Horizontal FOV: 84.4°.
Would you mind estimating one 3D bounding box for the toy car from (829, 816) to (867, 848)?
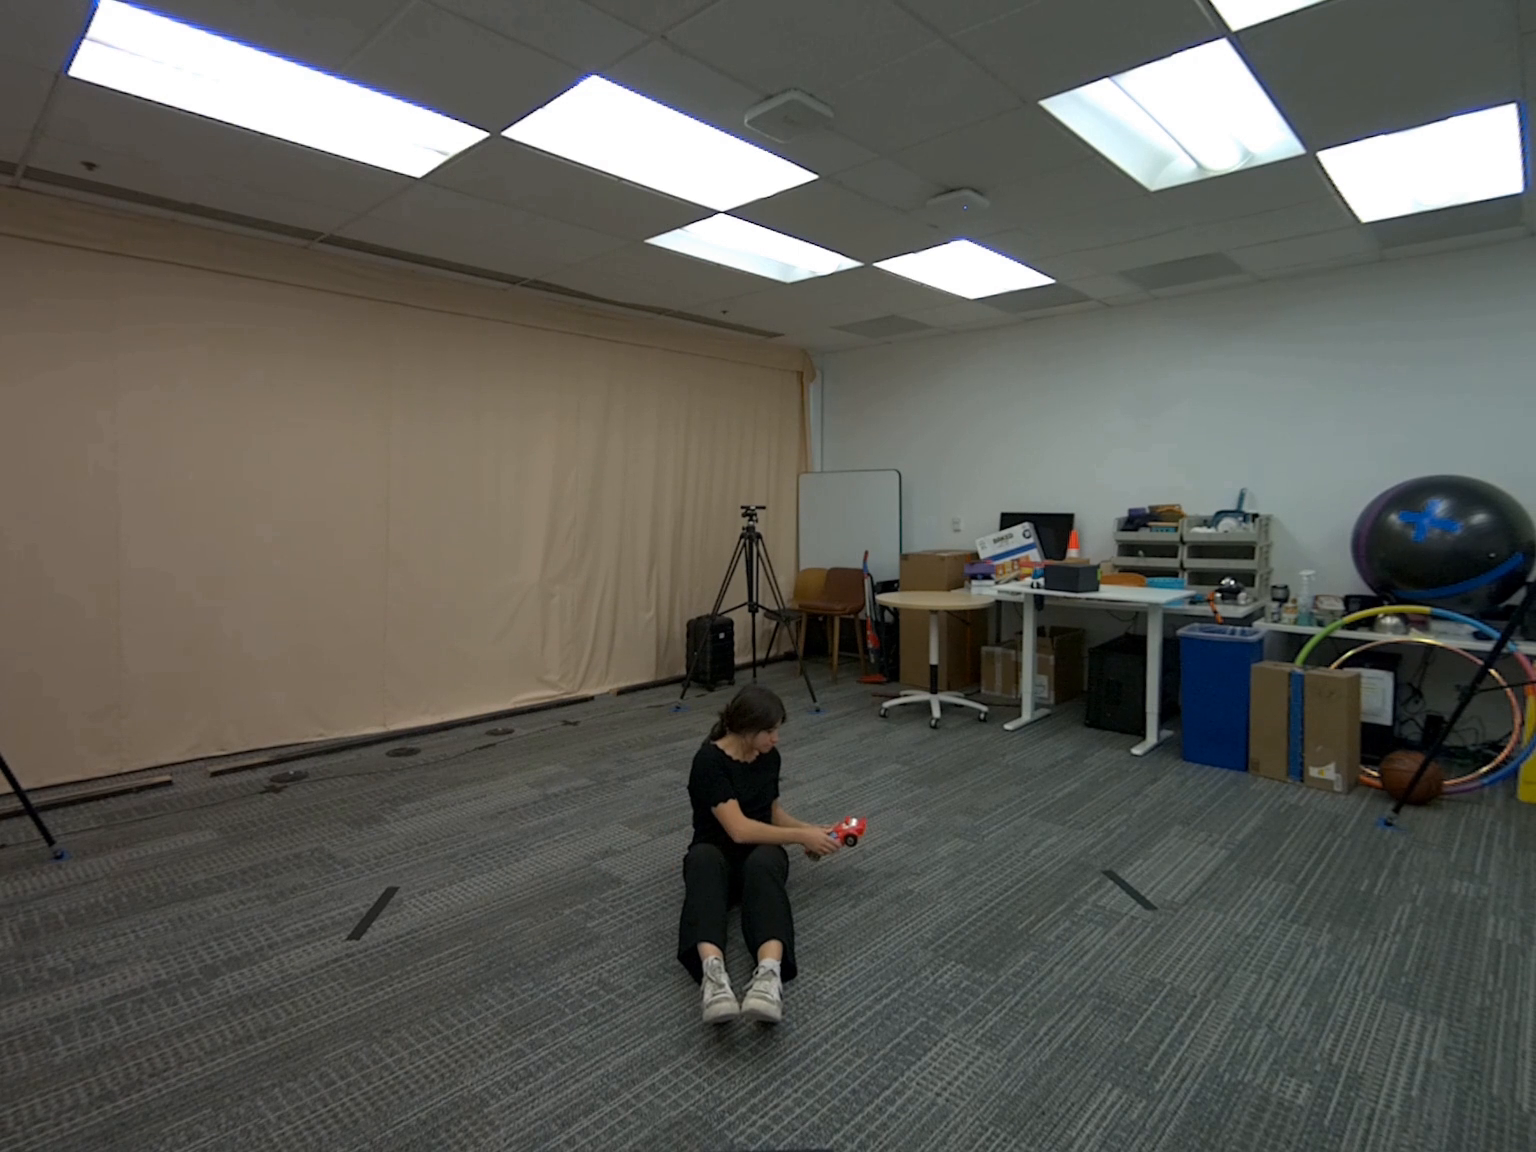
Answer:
[{"bbox_3d":[0.249,0.953,3.037,0.256,0.084,0.129,-38,-3,12],"label":"toy car"}]
